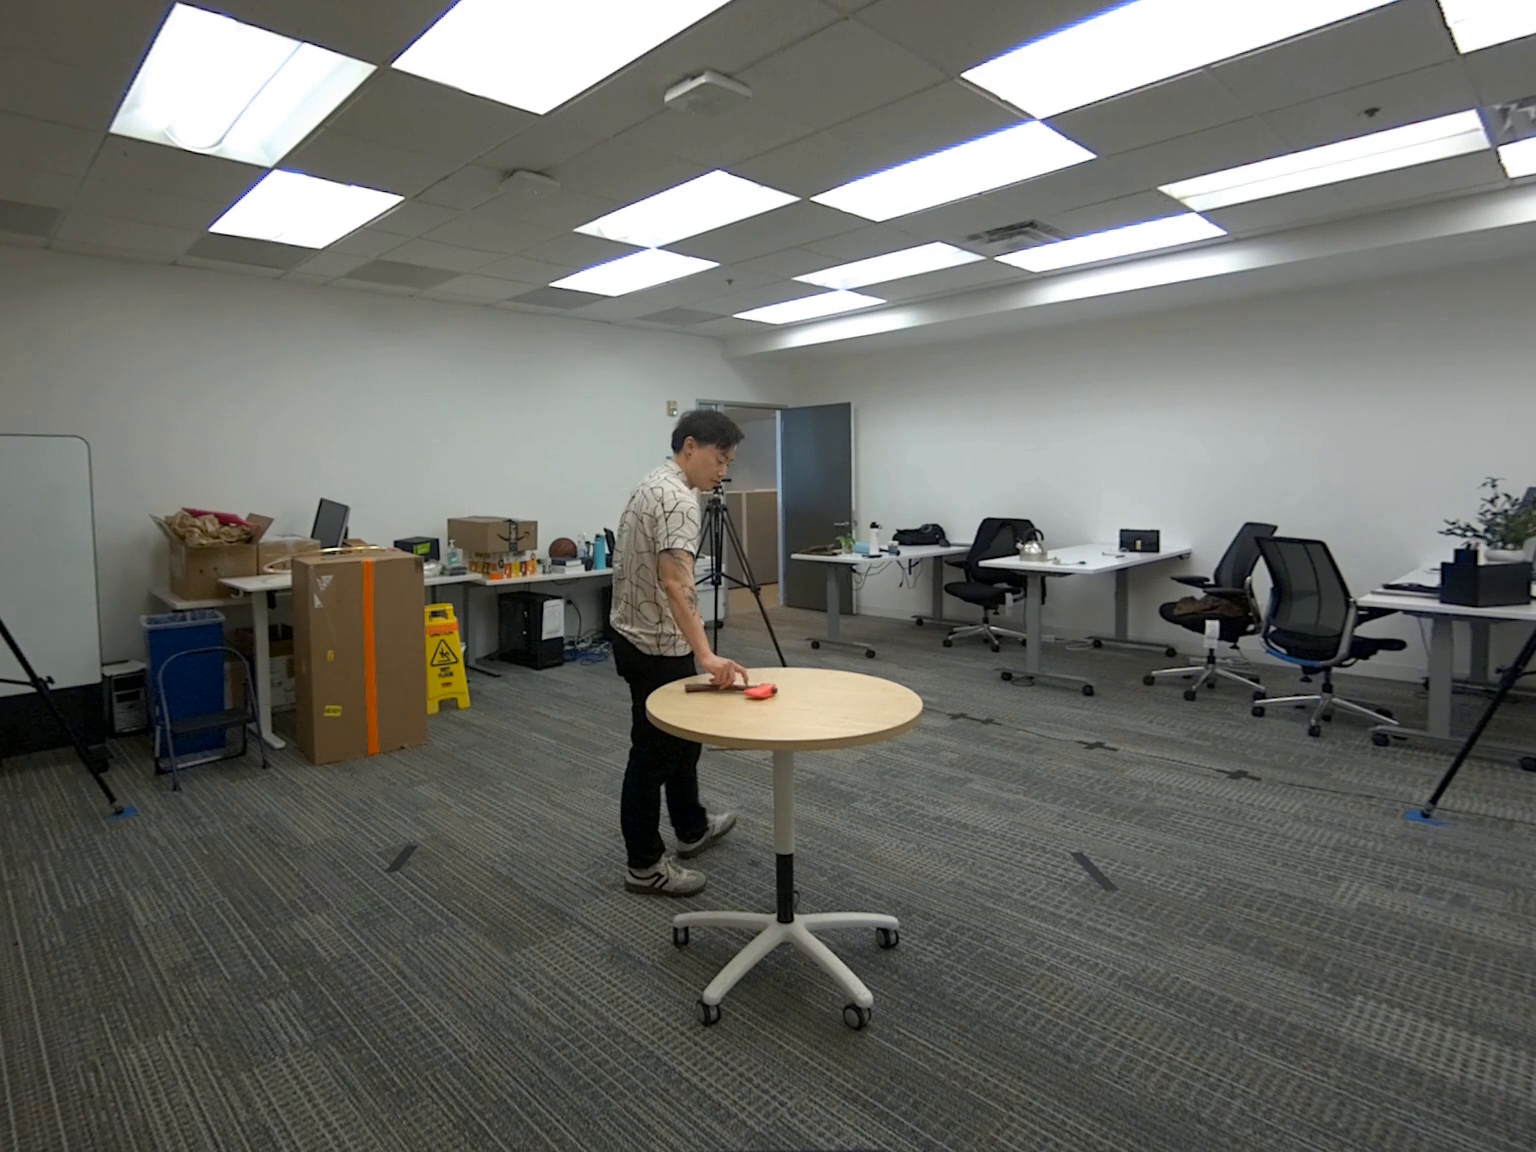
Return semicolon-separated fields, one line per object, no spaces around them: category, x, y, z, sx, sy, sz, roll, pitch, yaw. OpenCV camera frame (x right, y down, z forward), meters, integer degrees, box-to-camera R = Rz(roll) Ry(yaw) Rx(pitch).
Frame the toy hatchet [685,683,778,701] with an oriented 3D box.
toy hatchet;-0.098;0.324;2.437;0.270;0.029;0.131;0;4;1
